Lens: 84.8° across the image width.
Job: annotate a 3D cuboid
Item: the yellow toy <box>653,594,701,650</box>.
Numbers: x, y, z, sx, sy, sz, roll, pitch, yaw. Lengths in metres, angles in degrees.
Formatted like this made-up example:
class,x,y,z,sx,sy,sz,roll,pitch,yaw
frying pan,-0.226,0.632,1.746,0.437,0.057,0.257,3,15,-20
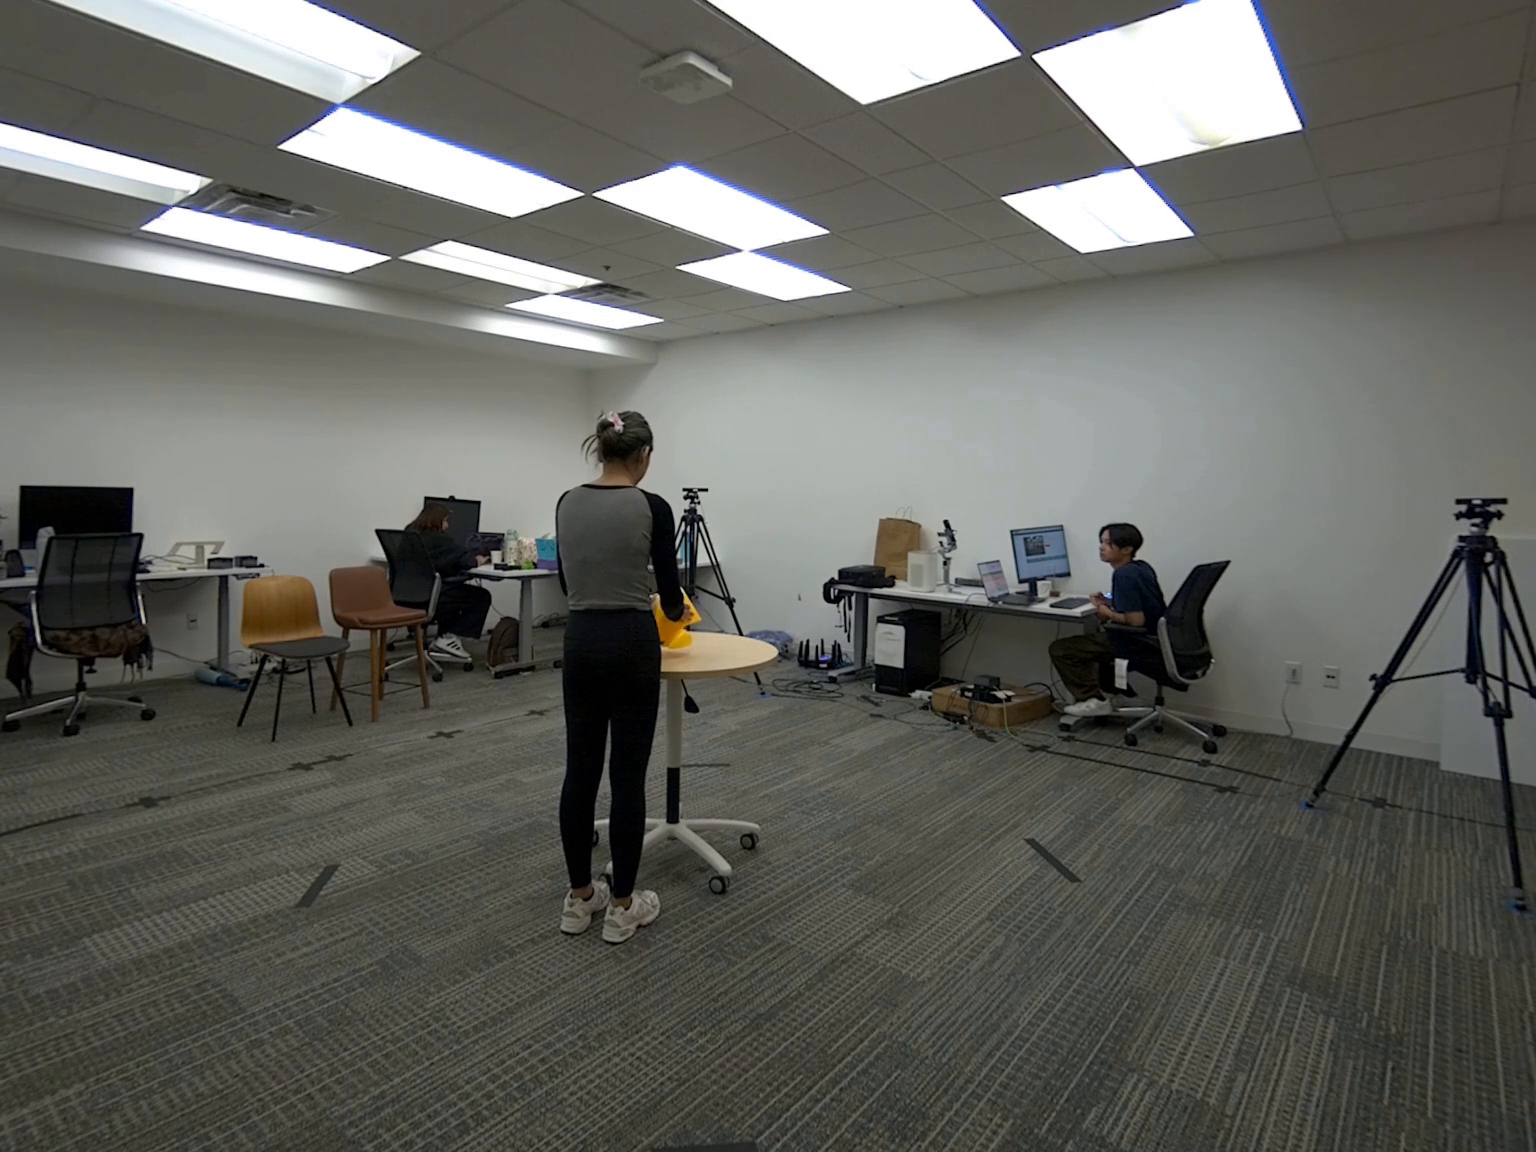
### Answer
class,x,y,z,sx,sy,sz,roll,pitch,yaw
yellow toy,-0.377,0.125,3.055,0.210,0.229,0.189,3,6,24
